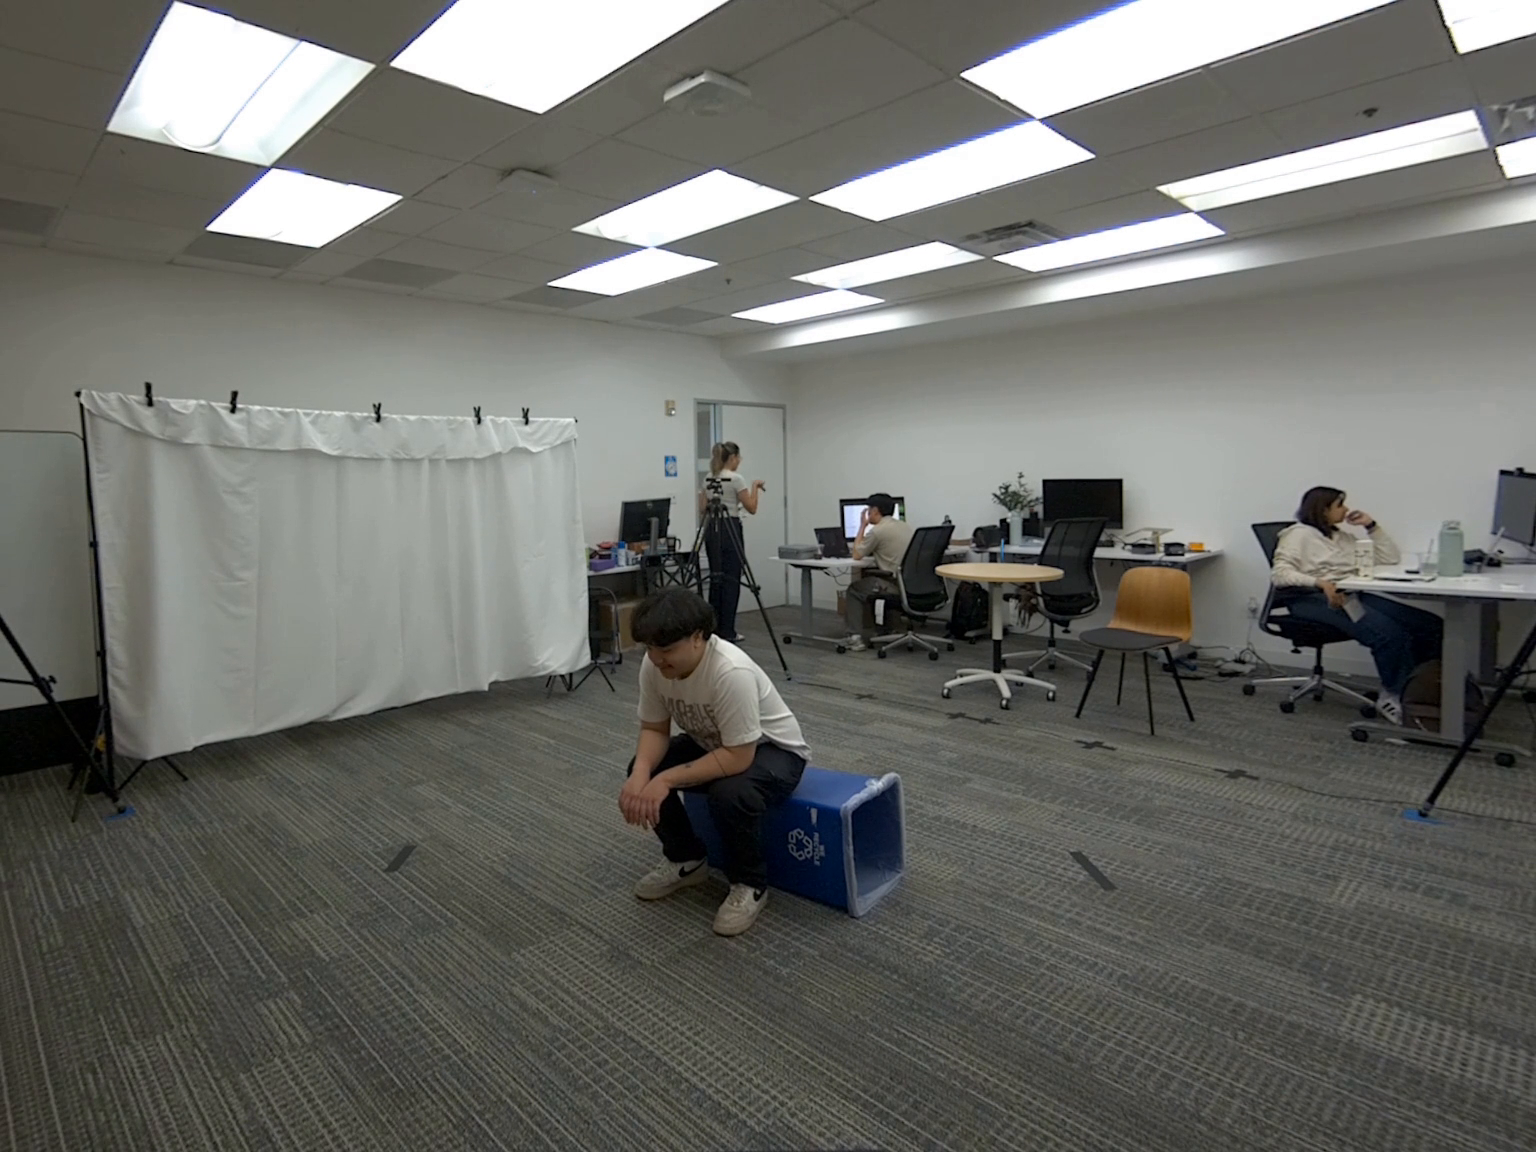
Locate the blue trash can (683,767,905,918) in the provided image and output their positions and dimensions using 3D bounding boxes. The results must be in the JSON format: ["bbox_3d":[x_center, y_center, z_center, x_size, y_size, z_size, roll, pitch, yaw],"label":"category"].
[{"bbox_3d":[0.080,0.884,3.043,0.733,0.373,0.369,-1,6,37],"label":"blue trash can"}]
